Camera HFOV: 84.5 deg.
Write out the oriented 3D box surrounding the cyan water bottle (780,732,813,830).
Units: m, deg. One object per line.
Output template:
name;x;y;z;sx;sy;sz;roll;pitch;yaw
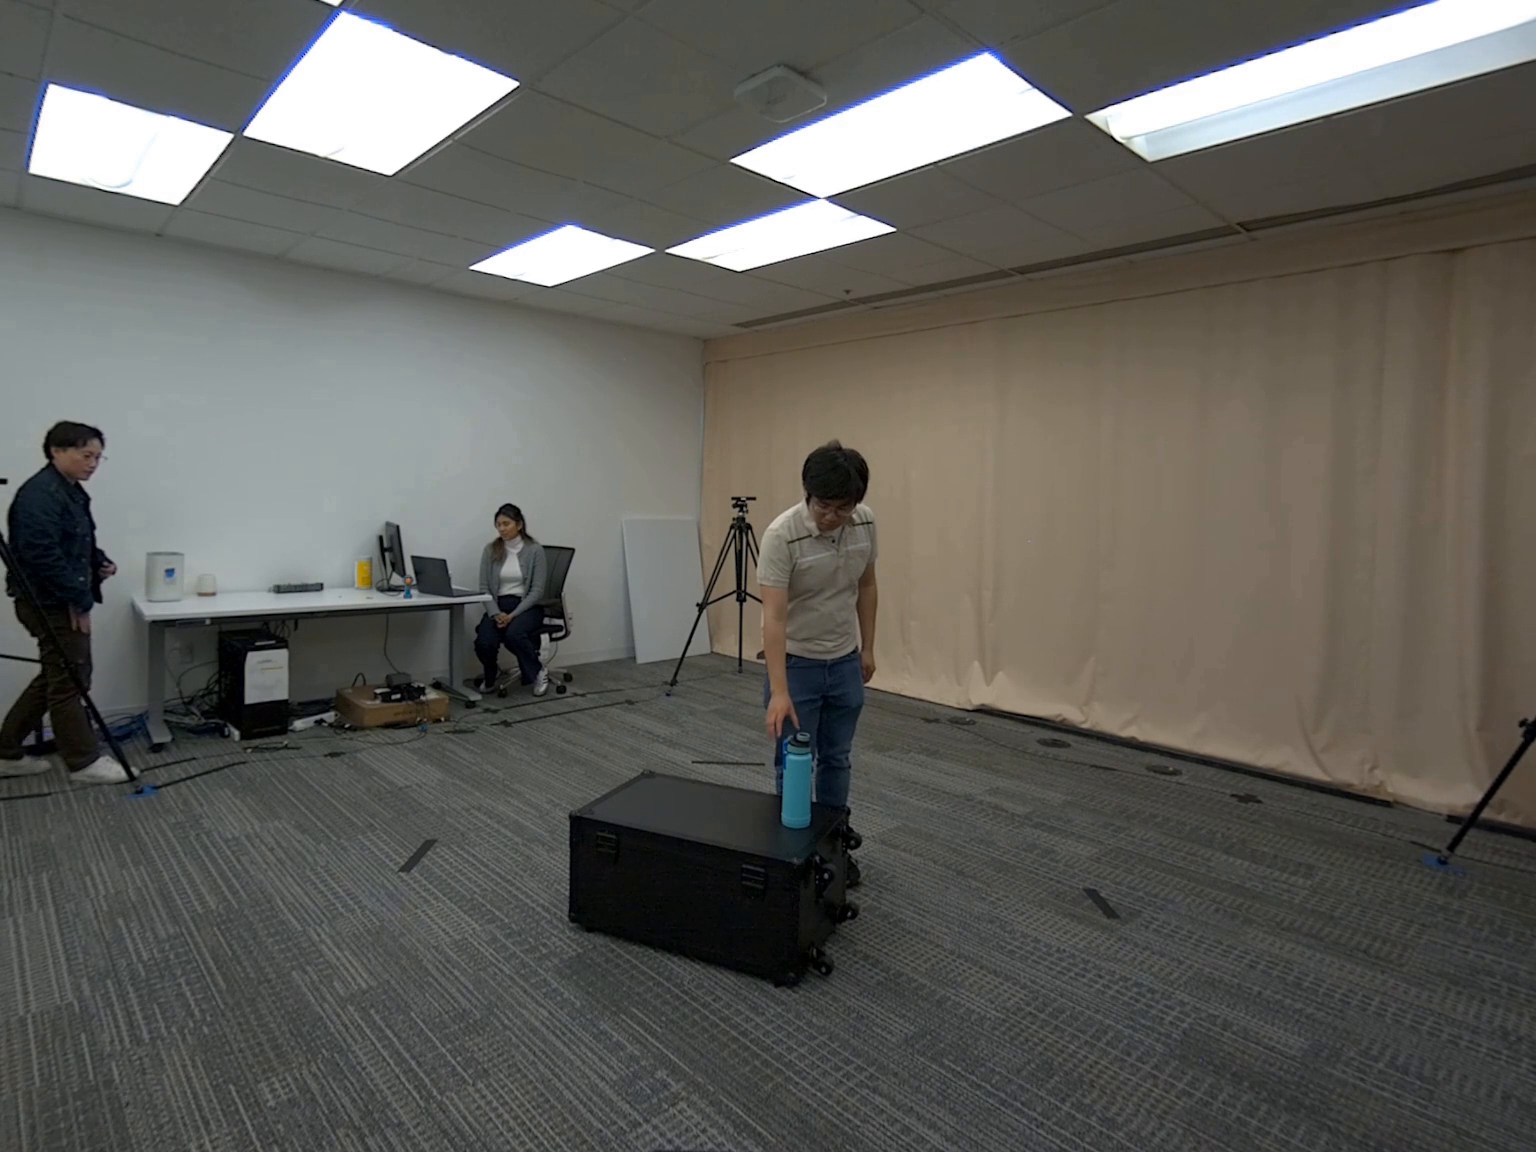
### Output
cyan water bottle;0.082;0.641;2.639;0.092;0.283;0.092;1;3;-1
